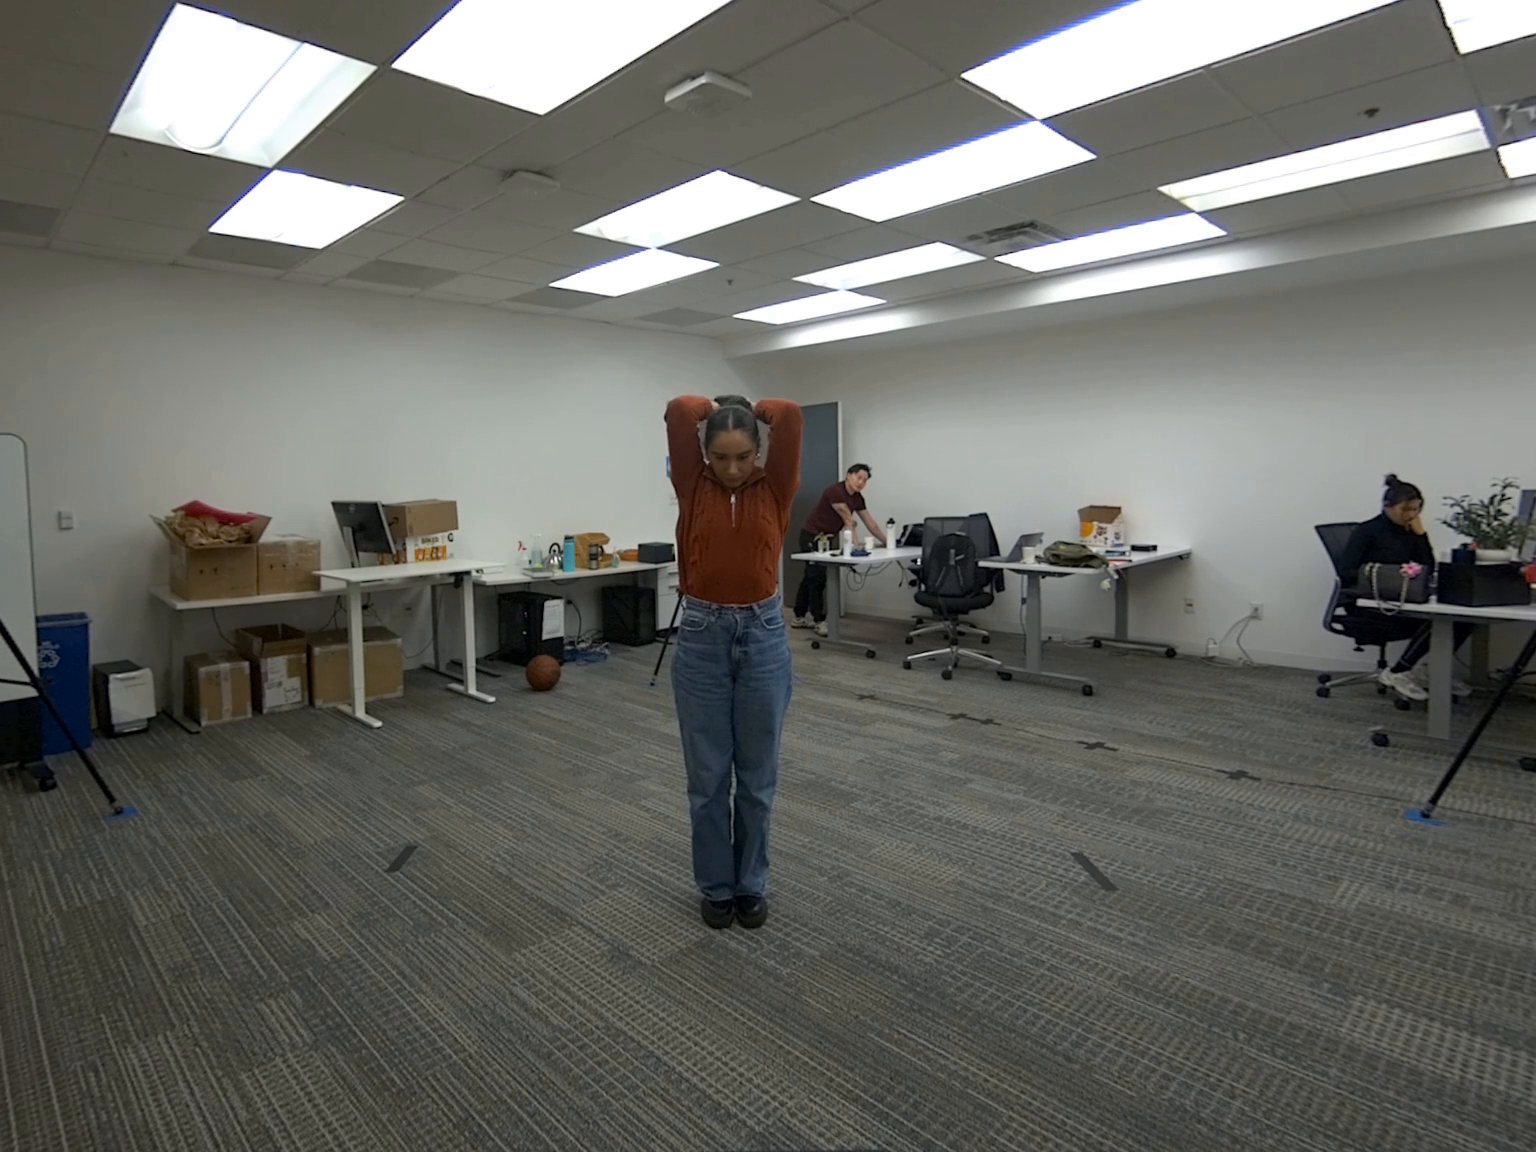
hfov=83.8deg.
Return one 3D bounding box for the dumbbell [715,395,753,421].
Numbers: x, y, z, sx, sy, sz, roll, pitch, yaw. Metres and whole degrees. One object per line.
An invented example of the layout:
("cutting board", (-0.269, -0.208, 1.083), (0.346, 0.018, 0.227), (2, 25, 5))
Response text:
("dumbbell", (-0.120, -0.445, 2.812), (0.108, 0.293, 0.124), (-2, 3, -6))
